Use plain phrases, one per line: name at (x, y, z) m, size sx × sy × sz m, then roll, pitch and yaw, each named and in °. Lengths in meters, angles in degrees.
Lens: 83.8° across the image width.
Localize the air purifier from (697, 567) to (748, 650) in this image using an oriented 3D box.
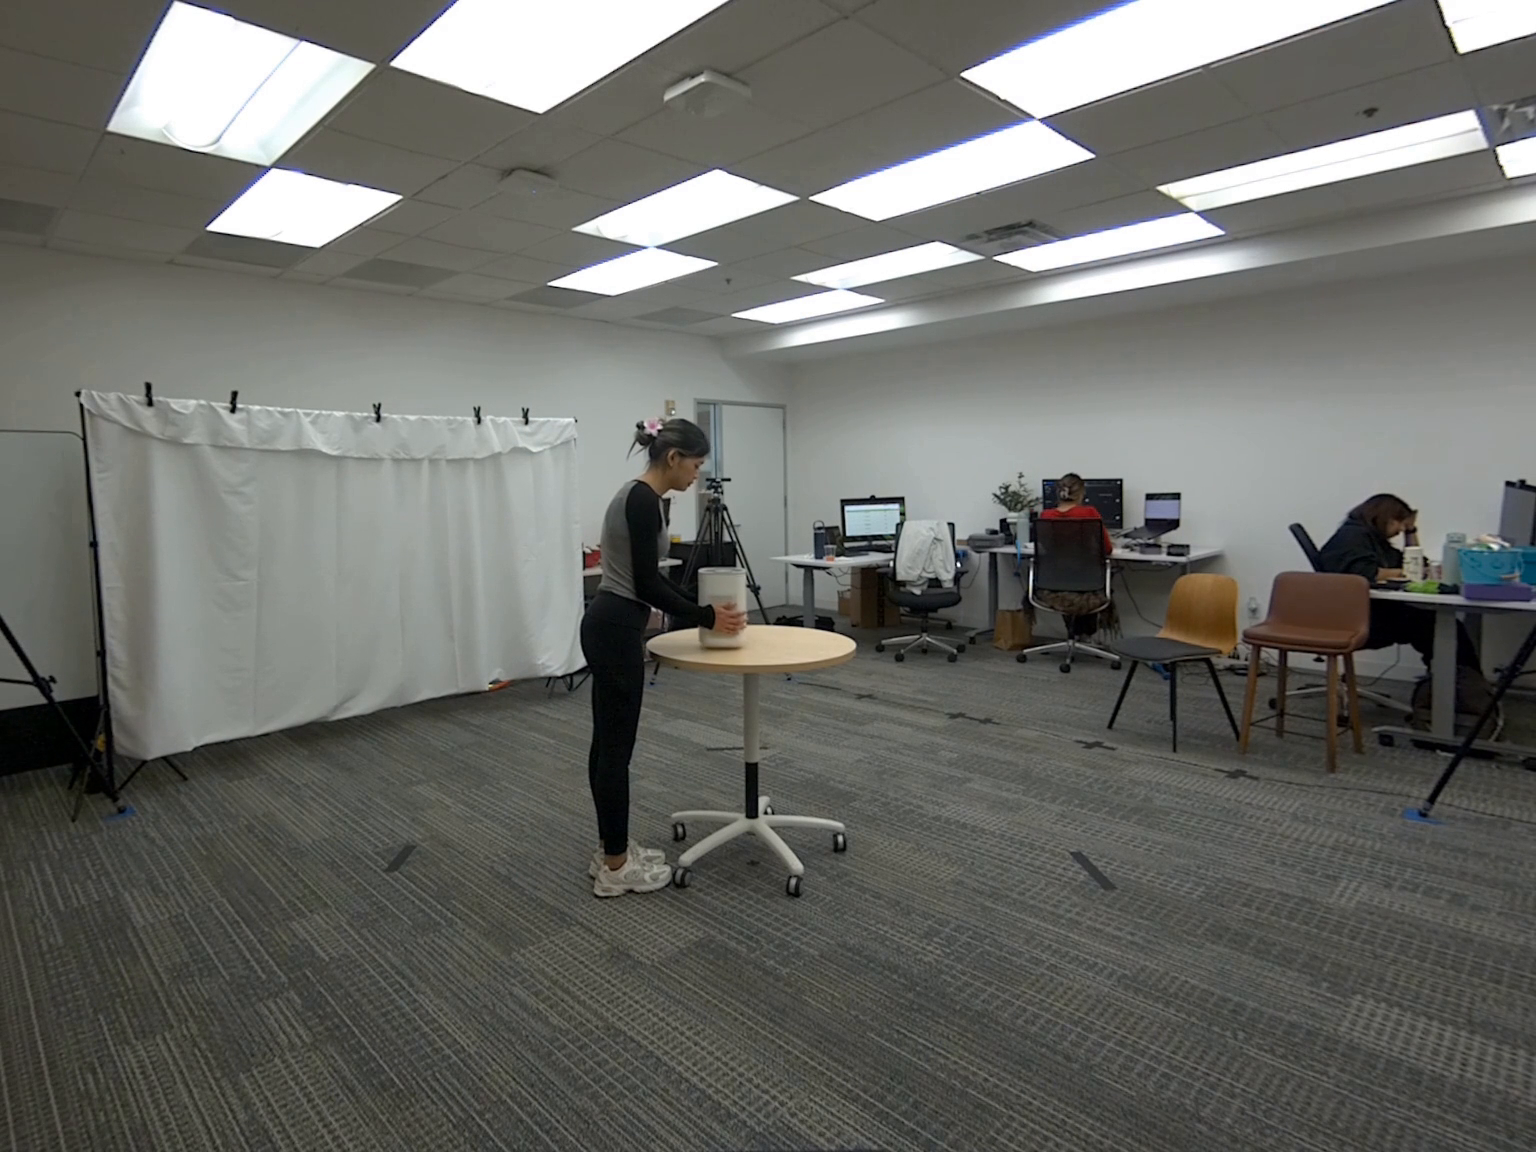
air purifier at (-0.165, 0.110, 3.051) m, size 0.171 × 0.264 × 0.172 m, roll -1°, pitch 6°, yaw -2°
